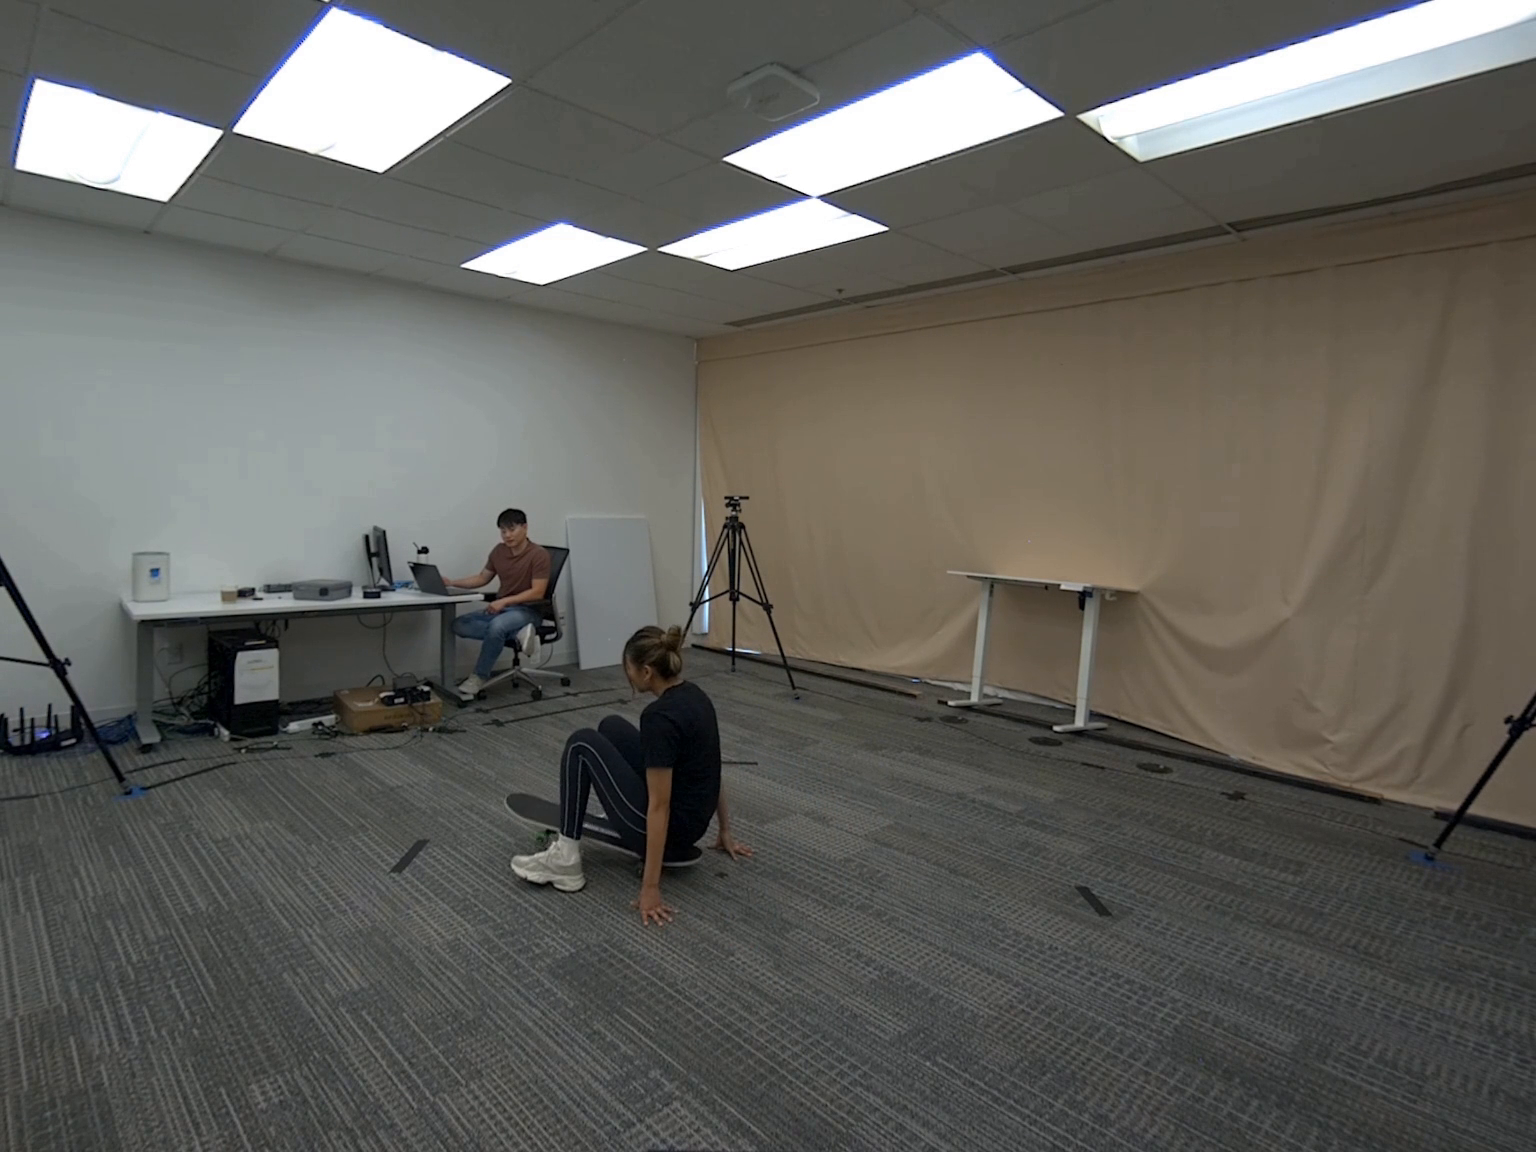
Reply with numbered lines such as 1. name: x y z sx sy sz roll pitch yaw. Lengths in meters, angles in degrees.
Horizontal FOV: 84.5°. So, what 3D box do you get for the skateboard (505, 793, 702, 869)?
1. skateboard: -0.636 0.989 3.181 0.794 0.110 0.192 14 7 11
